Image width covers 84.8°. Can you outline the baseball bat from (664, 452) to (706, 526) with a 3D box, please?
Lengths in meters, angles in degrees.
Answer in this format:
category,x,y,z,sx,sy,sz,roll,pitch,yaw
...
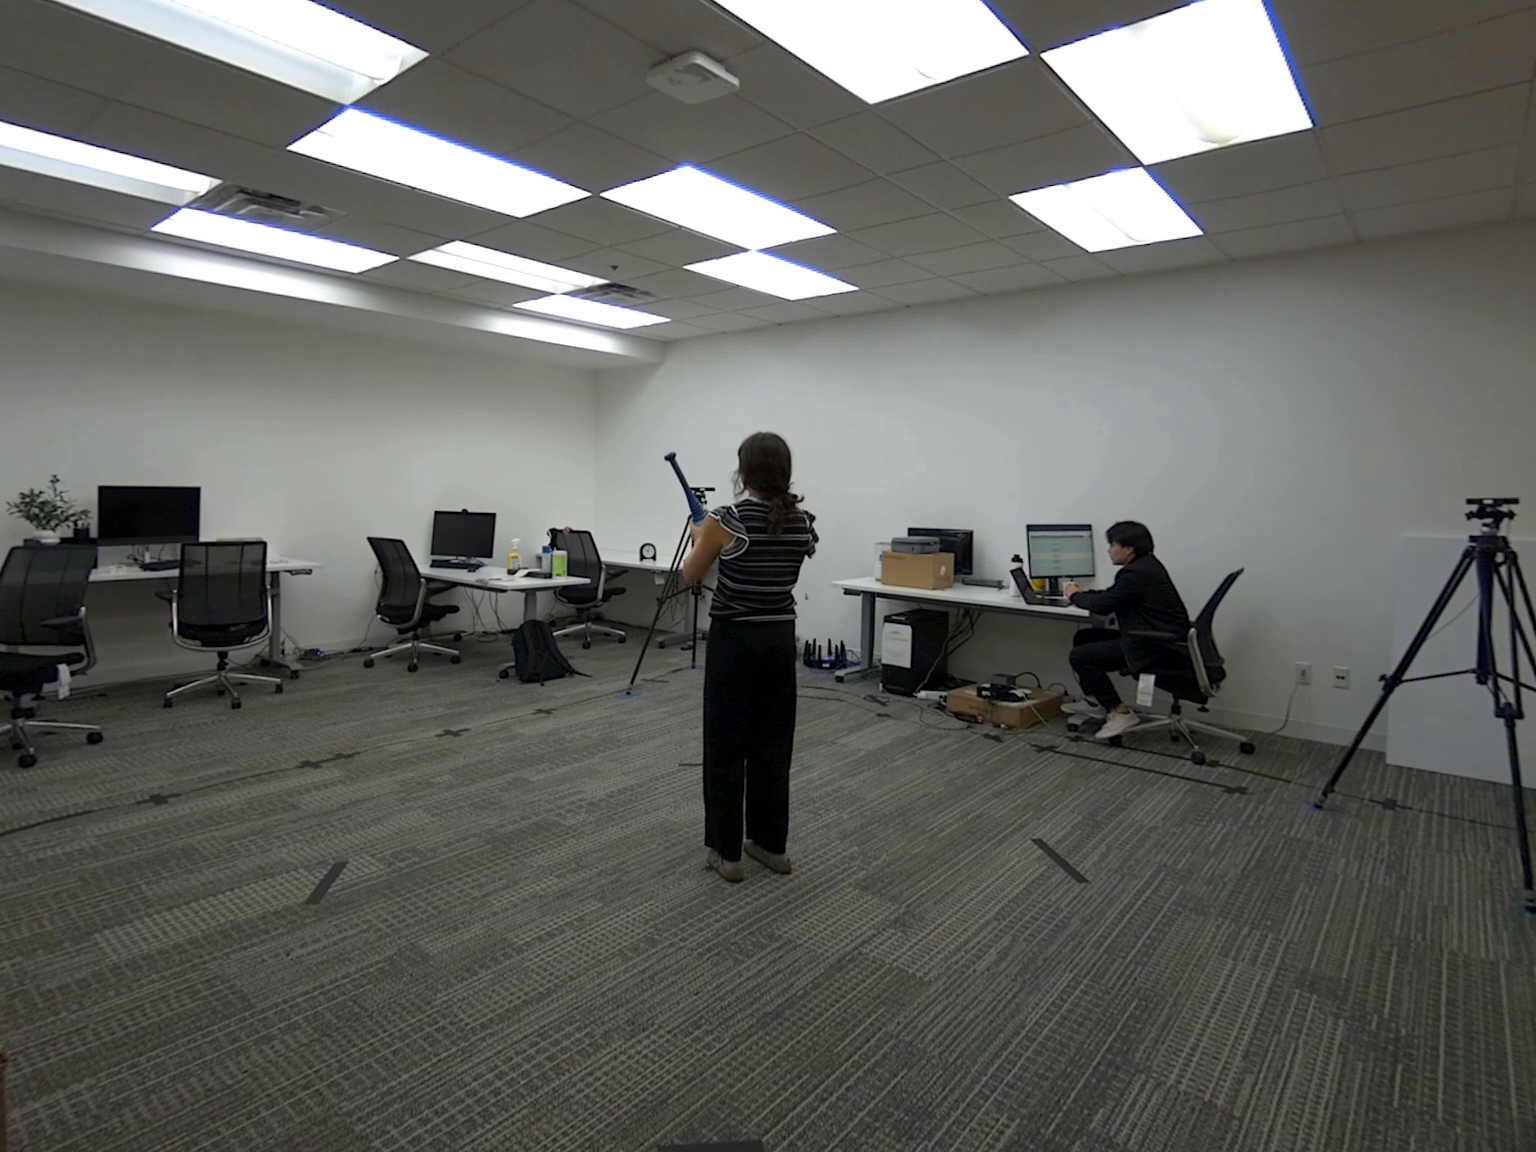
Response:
category,x,y,z,sx,sy,sz,roll,pitch,yaw
baseball bat,-0.284,-0.260,3.398,0.089,0.538,0.090,-26,7,2
